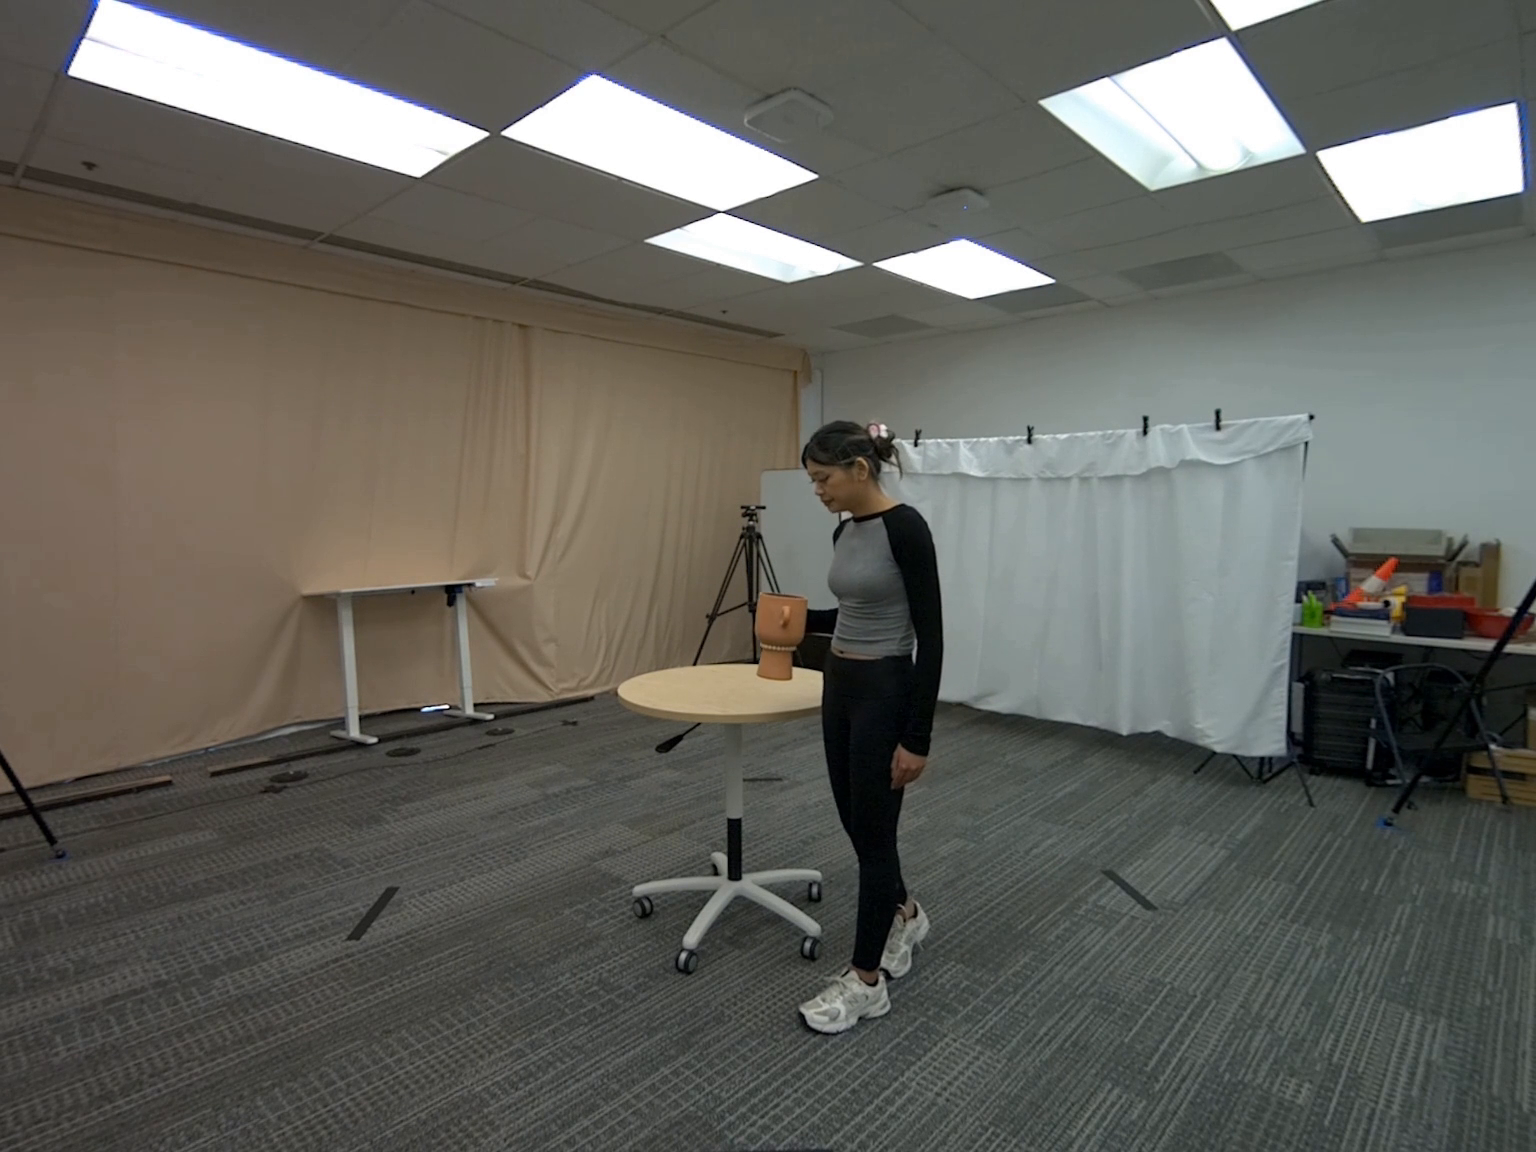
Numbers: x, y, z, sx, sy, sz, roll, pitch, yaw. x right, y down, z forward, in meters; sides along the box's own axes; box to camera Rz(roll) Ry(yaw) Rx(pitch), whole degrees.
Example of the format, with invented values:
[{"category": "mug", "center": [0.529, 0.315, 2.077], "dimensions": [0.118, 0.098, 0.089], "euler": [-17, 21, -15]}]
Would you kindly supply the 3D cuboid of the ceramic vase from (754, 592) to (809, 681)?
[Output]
[{"category": "ceramic vase", "center": [0.040, 0.163, 2.258], "dimensions": [0.139, 0.219, 0.154], "euler": [7, 3, 33]}]
